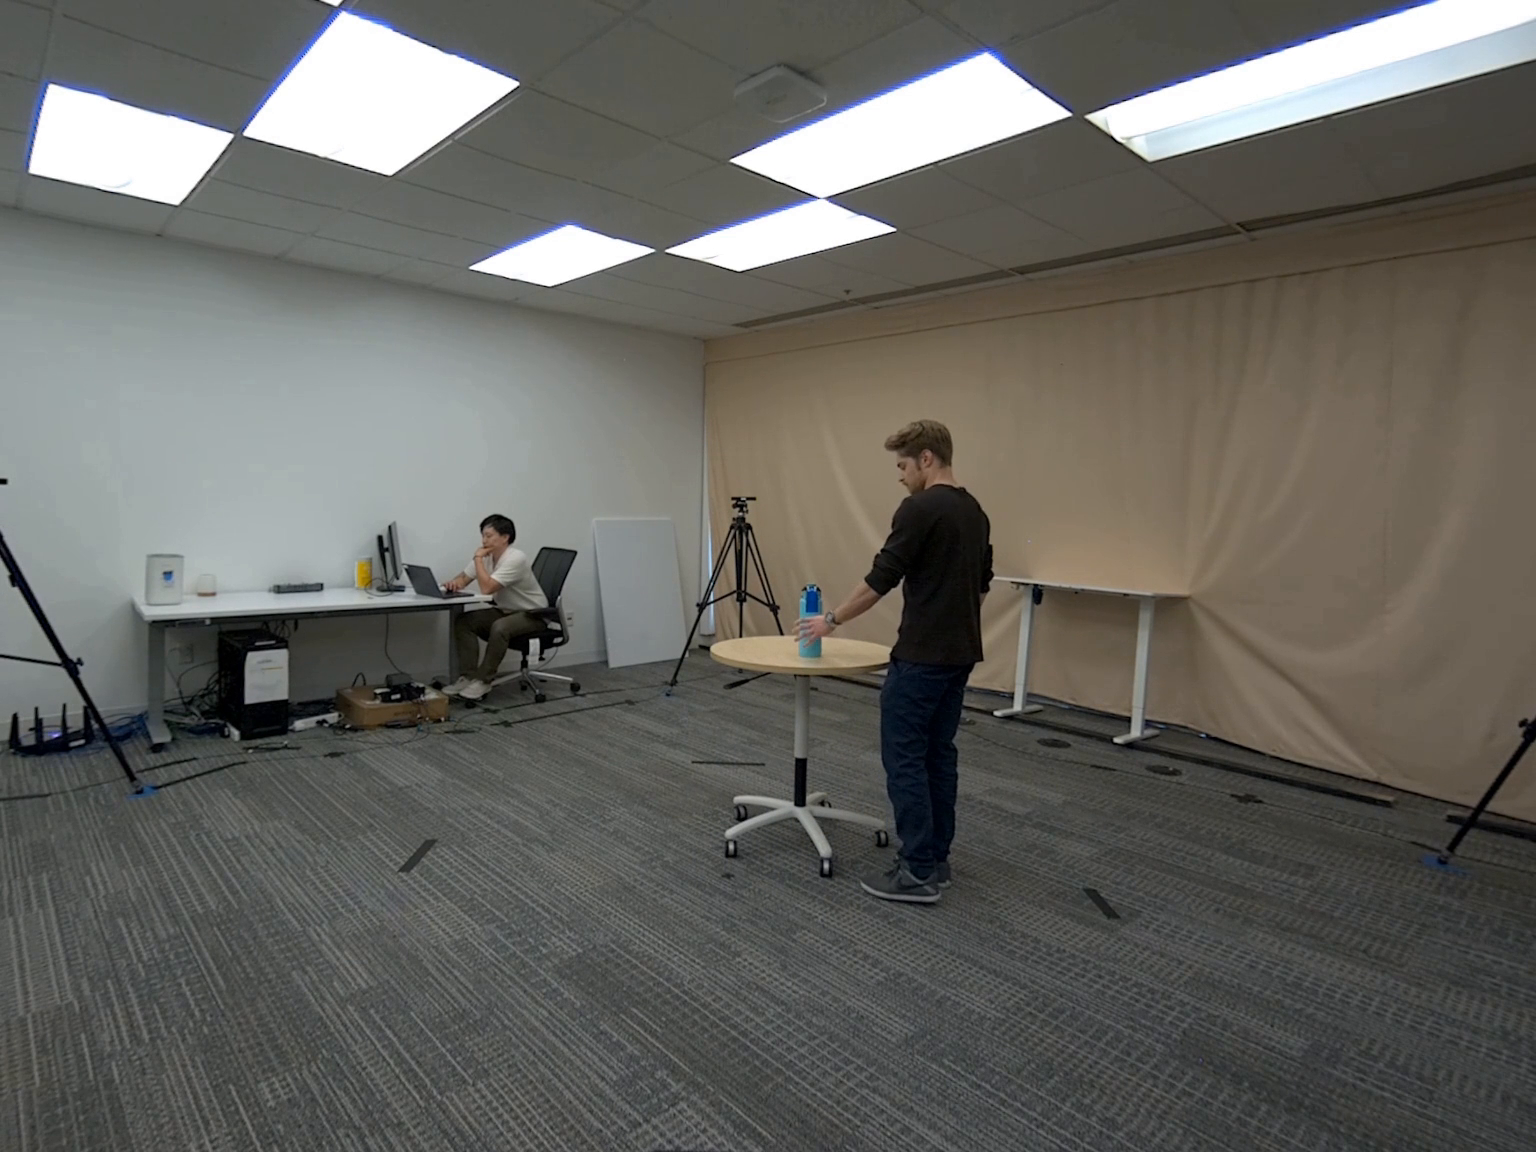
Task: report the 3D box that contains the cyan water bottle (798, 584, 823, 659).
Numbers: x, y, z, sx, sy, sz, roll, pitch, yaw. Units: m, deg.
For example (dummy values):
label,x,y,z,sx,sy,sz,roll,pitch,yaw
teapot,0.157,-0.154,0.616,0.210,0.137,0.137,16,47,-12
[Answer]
label,x,y,z,sx,sy,sz,roll,pitch,yaw
cyan water bottle,0.165,0.172,3.300,0.092,0.282,0.093,2,4,-2
